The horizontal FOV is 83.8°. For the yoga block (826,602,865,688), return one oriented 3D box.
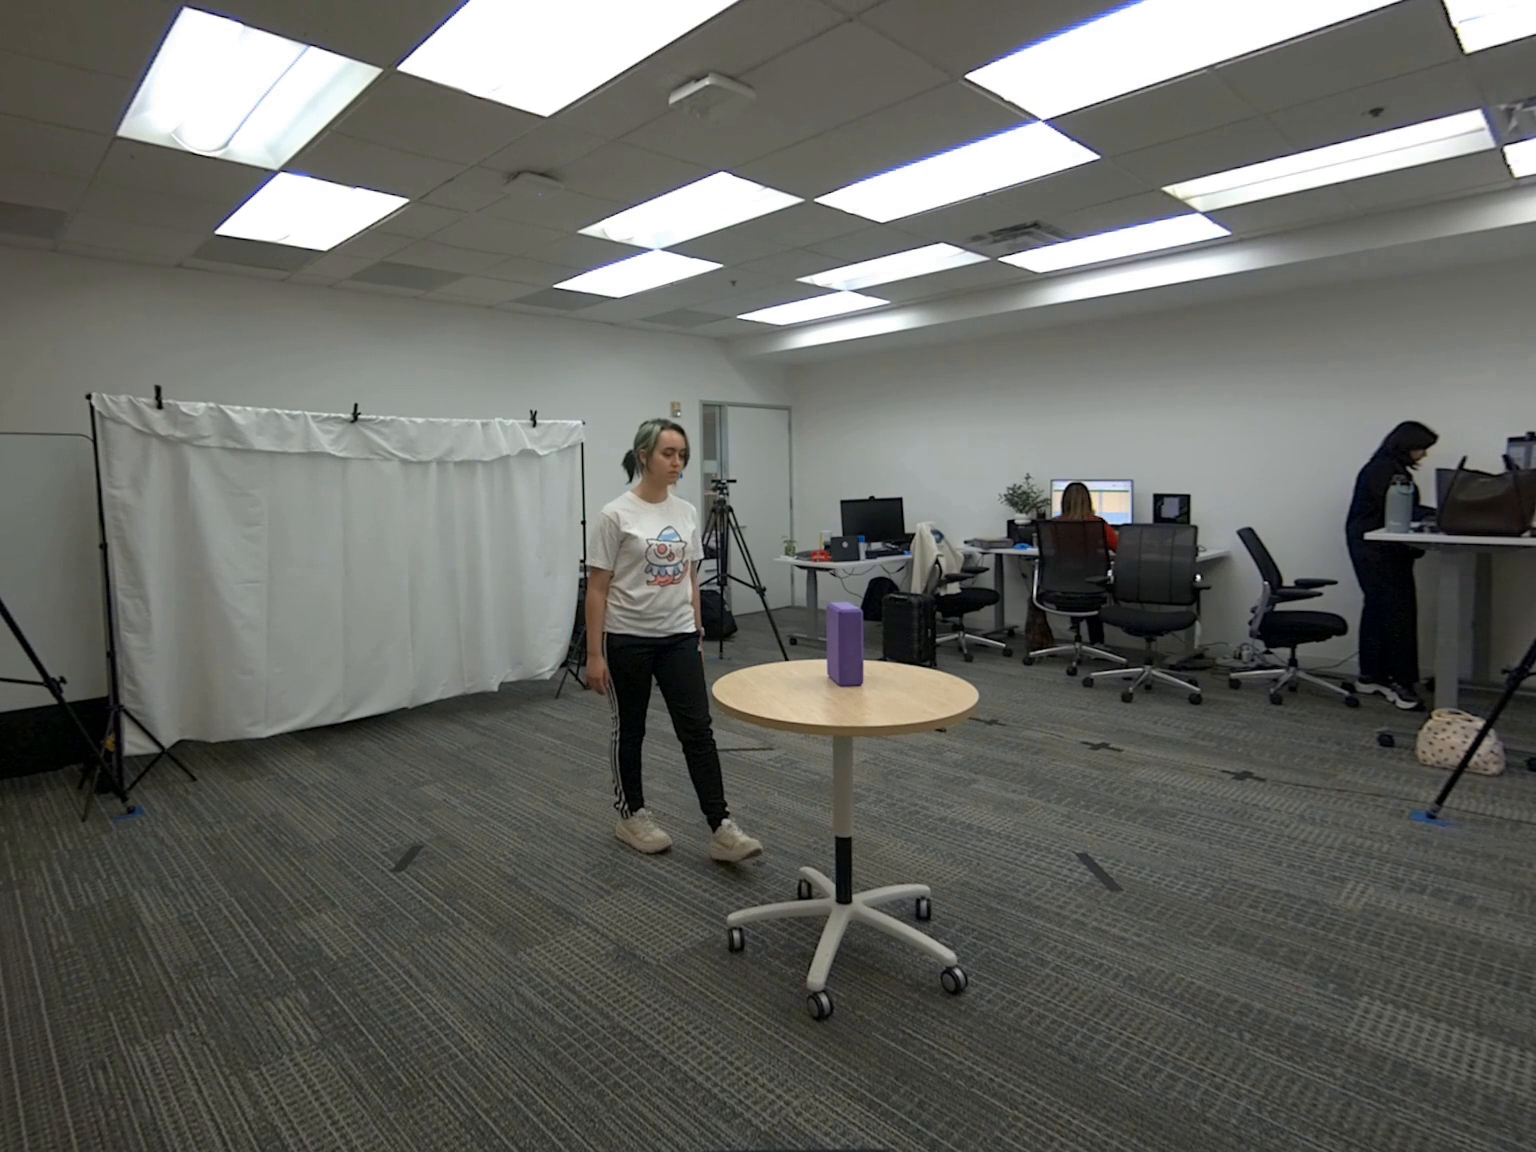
[{"bbox_3d":[0.237,0.207,2.566,0.076,0.228,0.151,-1,8,-6],"label":"yoga block"}]
